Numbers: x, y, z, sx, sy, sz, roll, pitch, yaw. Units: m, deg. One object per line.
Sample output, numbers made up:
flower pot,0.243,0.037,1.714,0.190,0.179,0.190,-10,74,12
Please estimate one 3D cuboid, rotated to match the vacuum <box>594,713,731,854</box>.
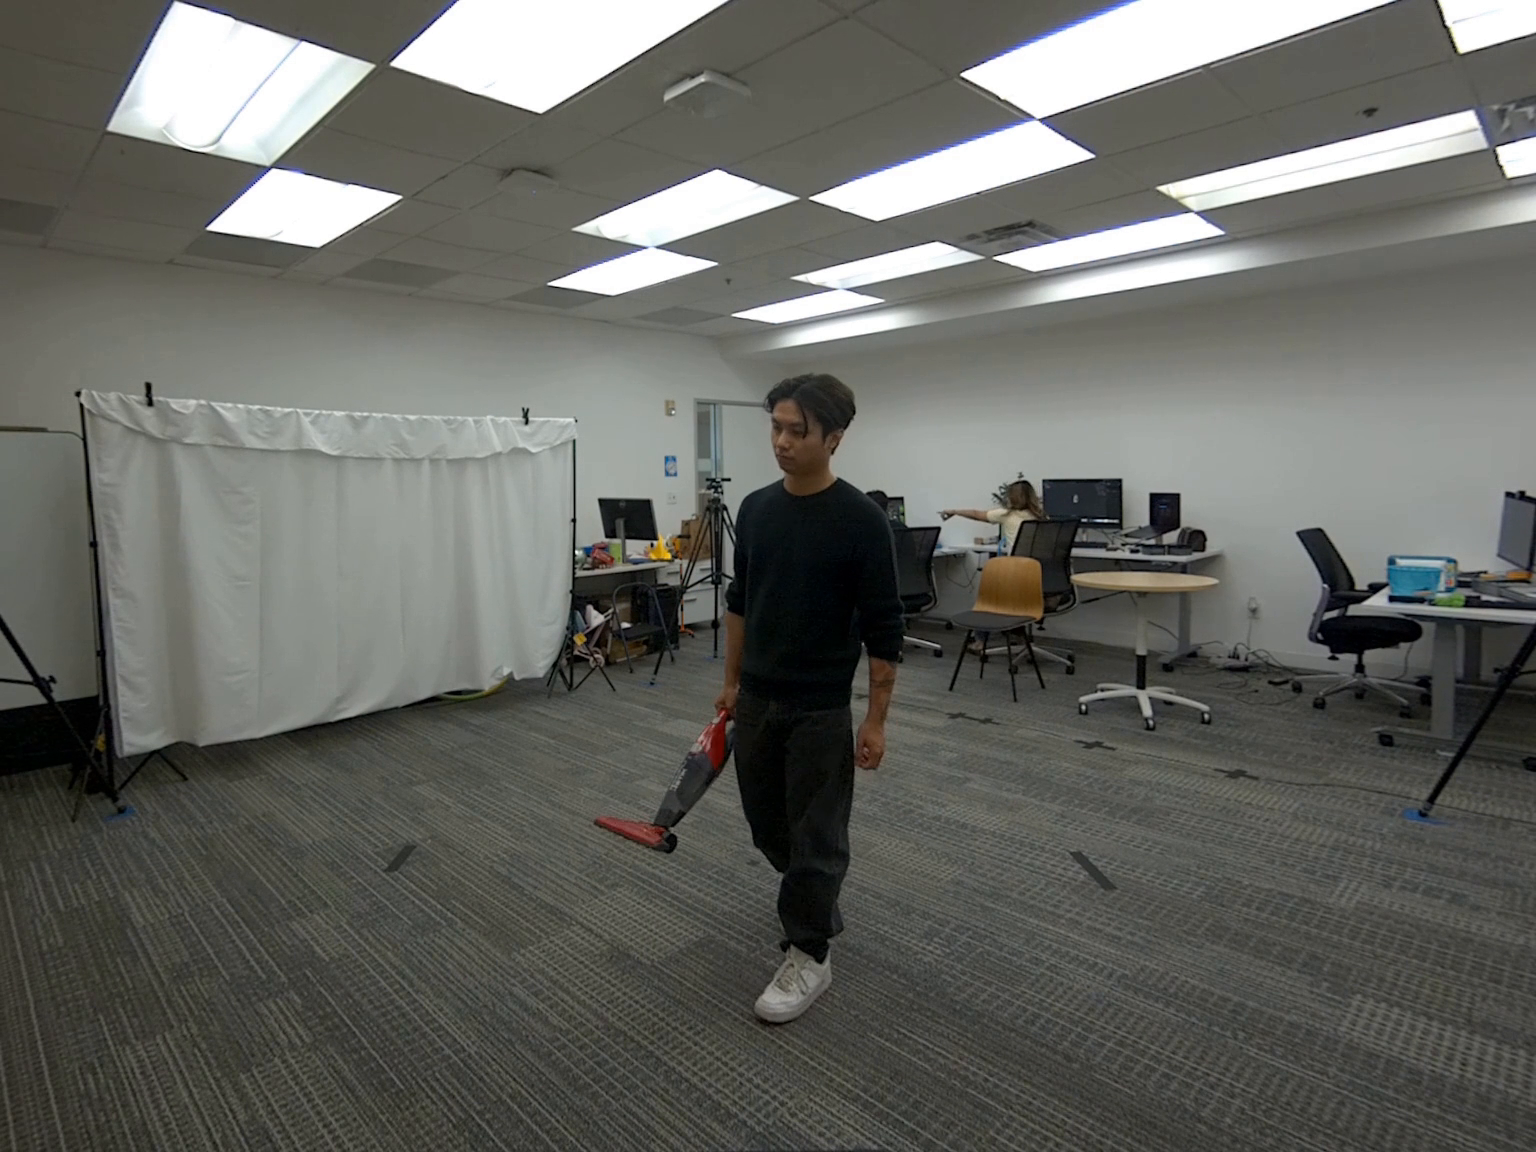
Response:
vacuum,-0.059,0.383,2.582,0.261,0.139,1.049,9,43,38
